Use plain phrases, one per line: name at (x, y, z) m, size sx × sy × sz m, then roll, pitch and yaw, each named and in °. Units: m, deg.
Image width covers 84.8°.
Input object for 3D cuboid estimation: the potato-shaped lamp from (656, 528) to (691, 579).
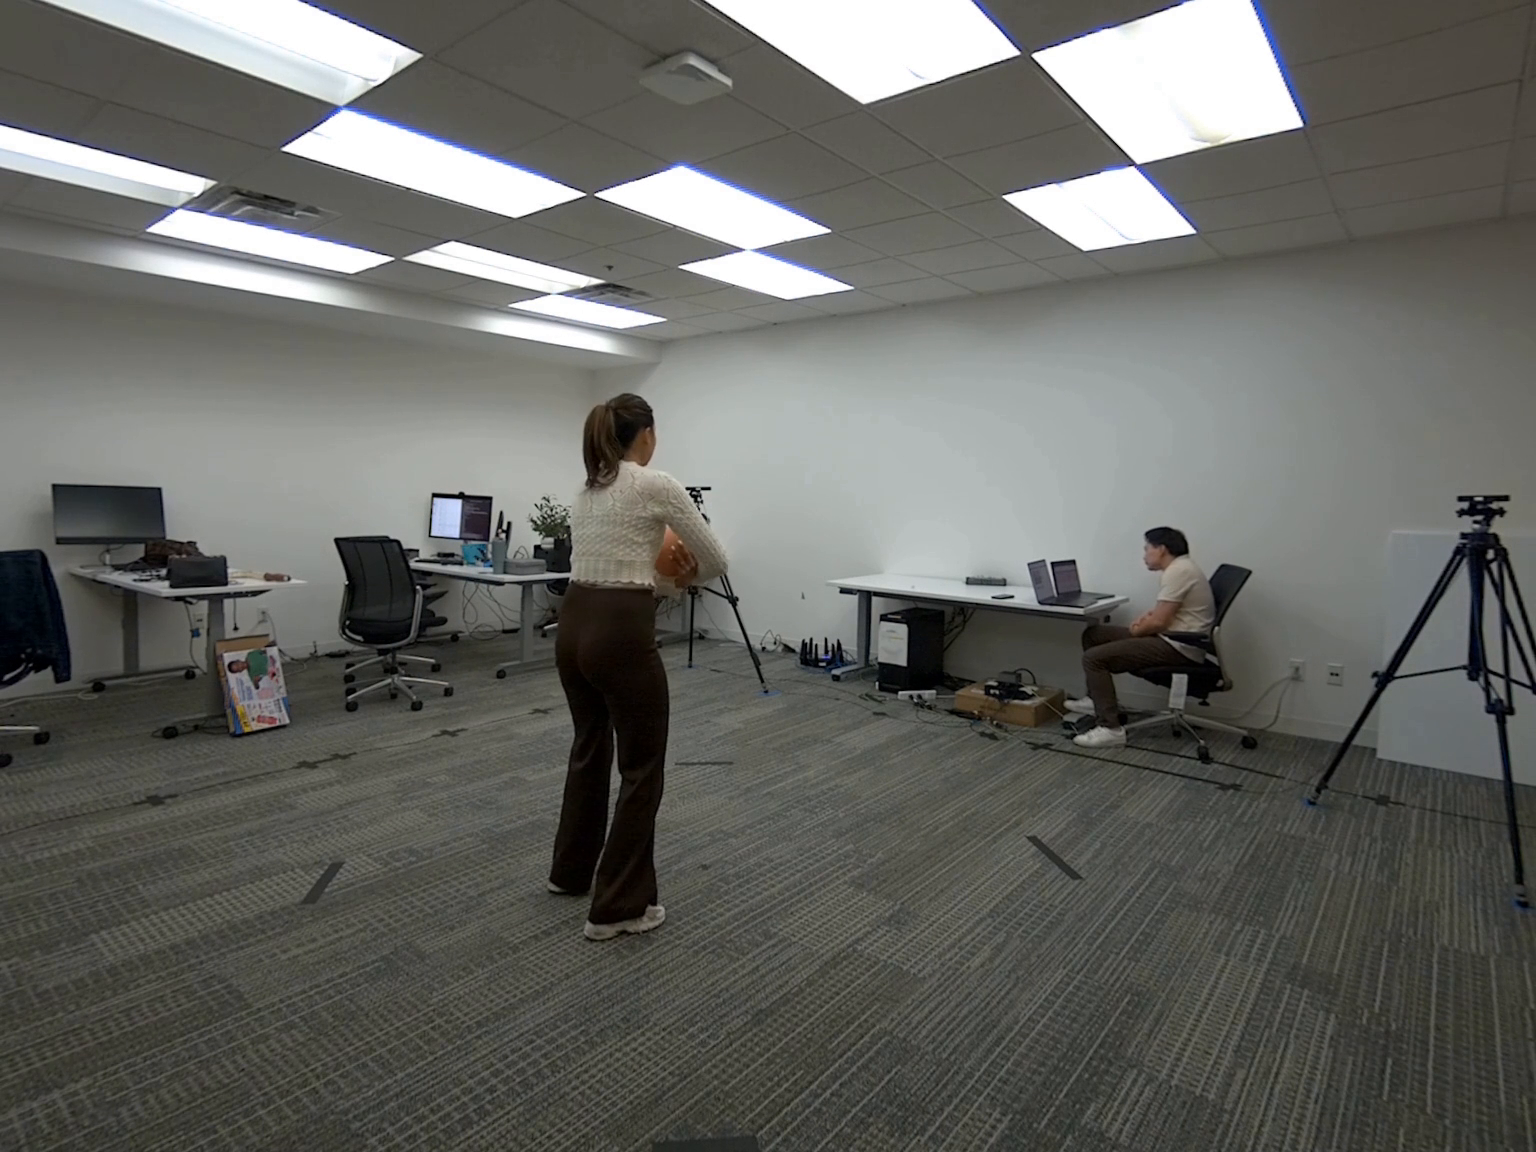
potato-shaped lamp at (-0.329, -0.103, 2.861) m, size 0.158 × 0.198 × 0.178 m, roll 21°, pitch 33°, yaw -39°
